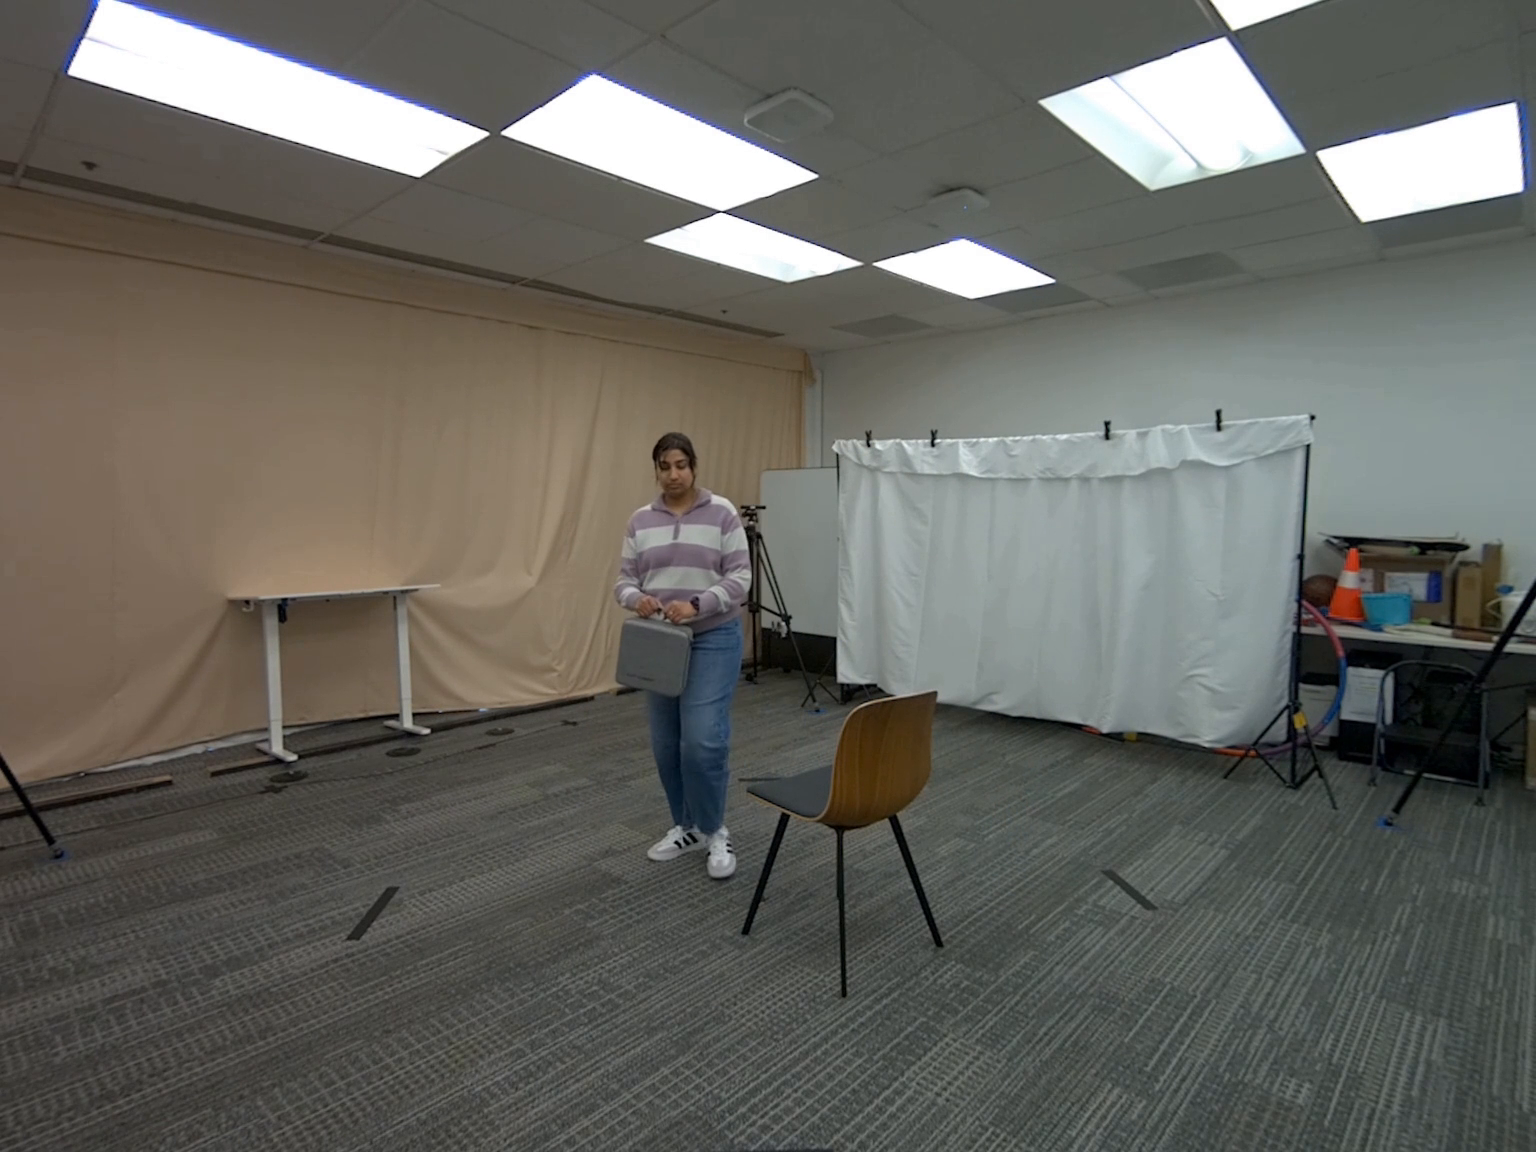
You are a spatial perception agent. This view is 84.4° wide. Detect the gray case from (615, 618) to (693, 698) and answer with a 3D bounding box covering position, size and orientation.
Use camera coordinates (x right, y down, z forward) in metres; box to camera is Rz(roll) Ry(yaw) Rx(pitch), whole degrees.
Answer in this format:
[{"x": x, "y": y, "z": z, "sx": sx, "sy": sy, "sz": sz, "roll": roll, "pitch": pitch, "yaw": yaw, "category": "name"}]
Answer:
[{"x": -0.408, "y": 0.281, "z": 3.044, "sx": 0.261, "sy": 0.259, "sz": 0.103, "roll": 14, "pitch": 12, "yaw": 12, "category": "gray case"}]
